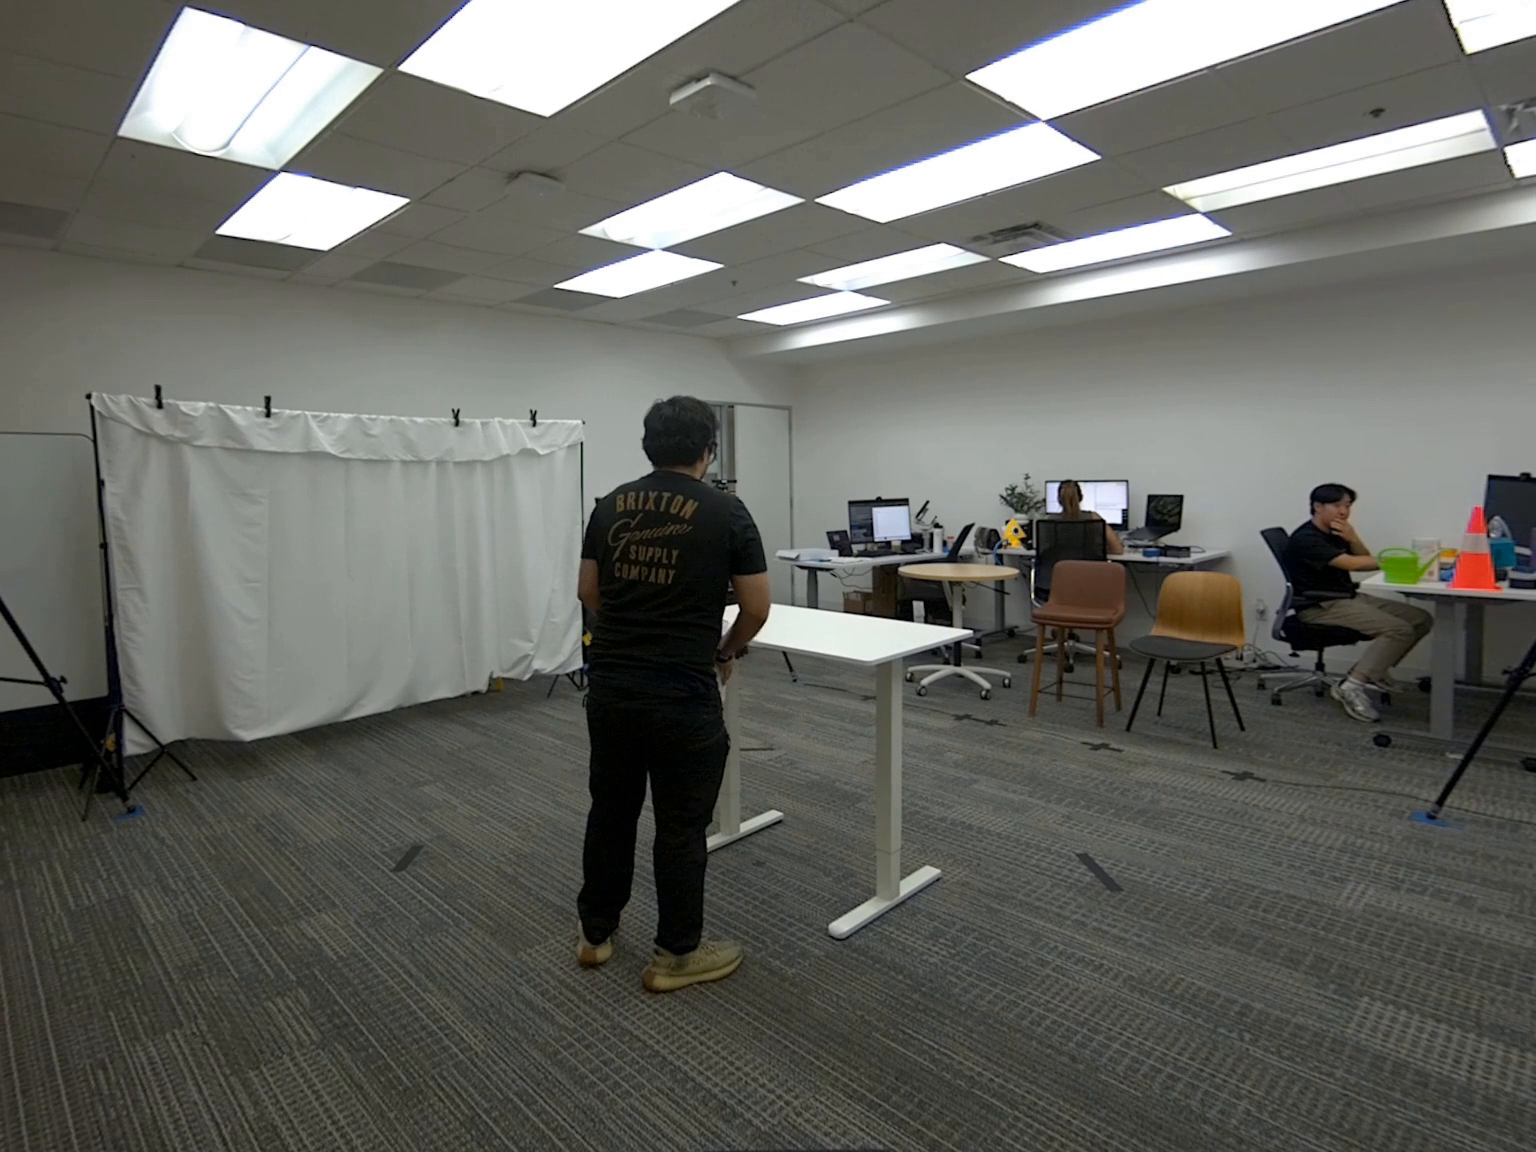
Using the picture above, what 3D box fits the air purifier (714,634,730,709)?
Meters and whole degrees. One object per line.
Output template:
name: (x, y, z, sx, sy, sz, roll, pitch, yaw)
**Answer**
air purifier: (-0.215, 0.270, 2.618, 0.174, 0.268, 0.167, 0, -13, 16)
